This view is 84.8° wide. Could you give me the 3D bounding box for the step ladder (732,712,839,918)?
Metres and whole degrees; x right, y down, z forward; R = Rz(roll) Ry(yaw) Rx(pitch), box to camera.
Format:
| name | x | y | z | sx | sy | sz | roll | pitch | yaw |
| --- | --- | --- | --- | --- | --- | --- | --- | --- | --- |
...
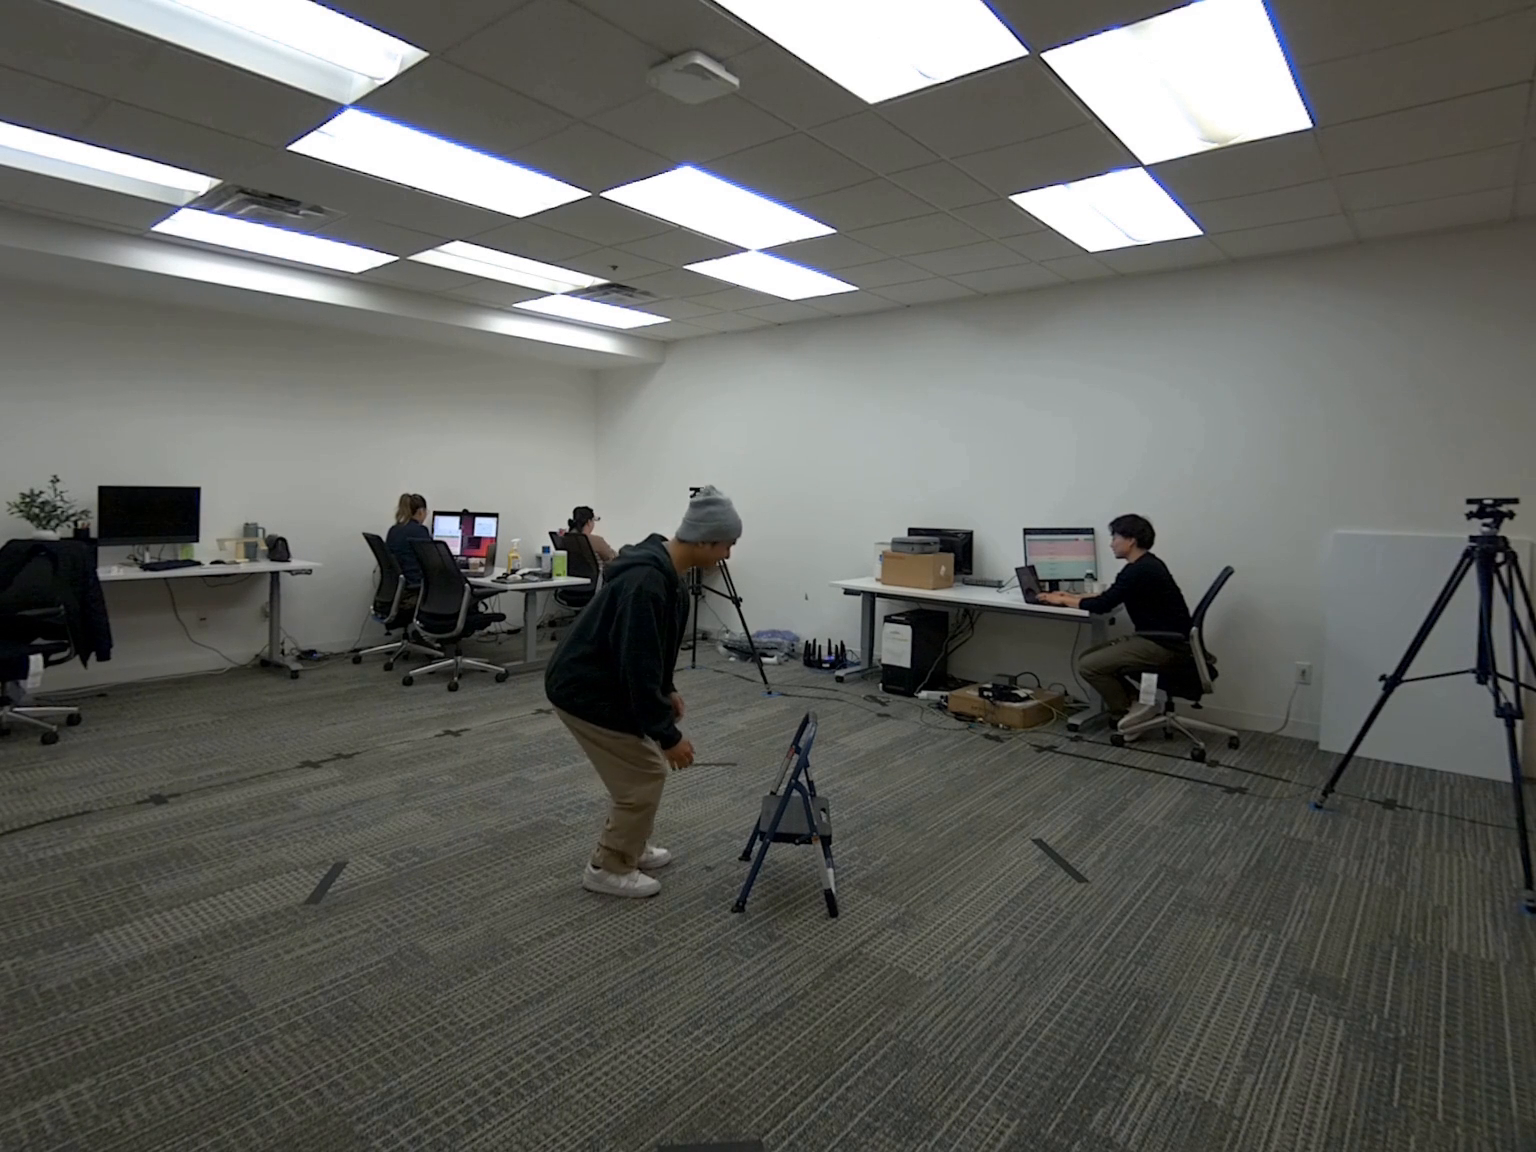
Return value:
| name | x | y | z | sx | sy | sz | roll | pitch | yaw |
| --- | --- | --- | --- | --- | --- | --- | --- | --- | --- |
| step ladder | 0.062 | 0.788 | 2.964 | 0.351 | 0.604 | 0.430 | 1 | 3 | 3 |
